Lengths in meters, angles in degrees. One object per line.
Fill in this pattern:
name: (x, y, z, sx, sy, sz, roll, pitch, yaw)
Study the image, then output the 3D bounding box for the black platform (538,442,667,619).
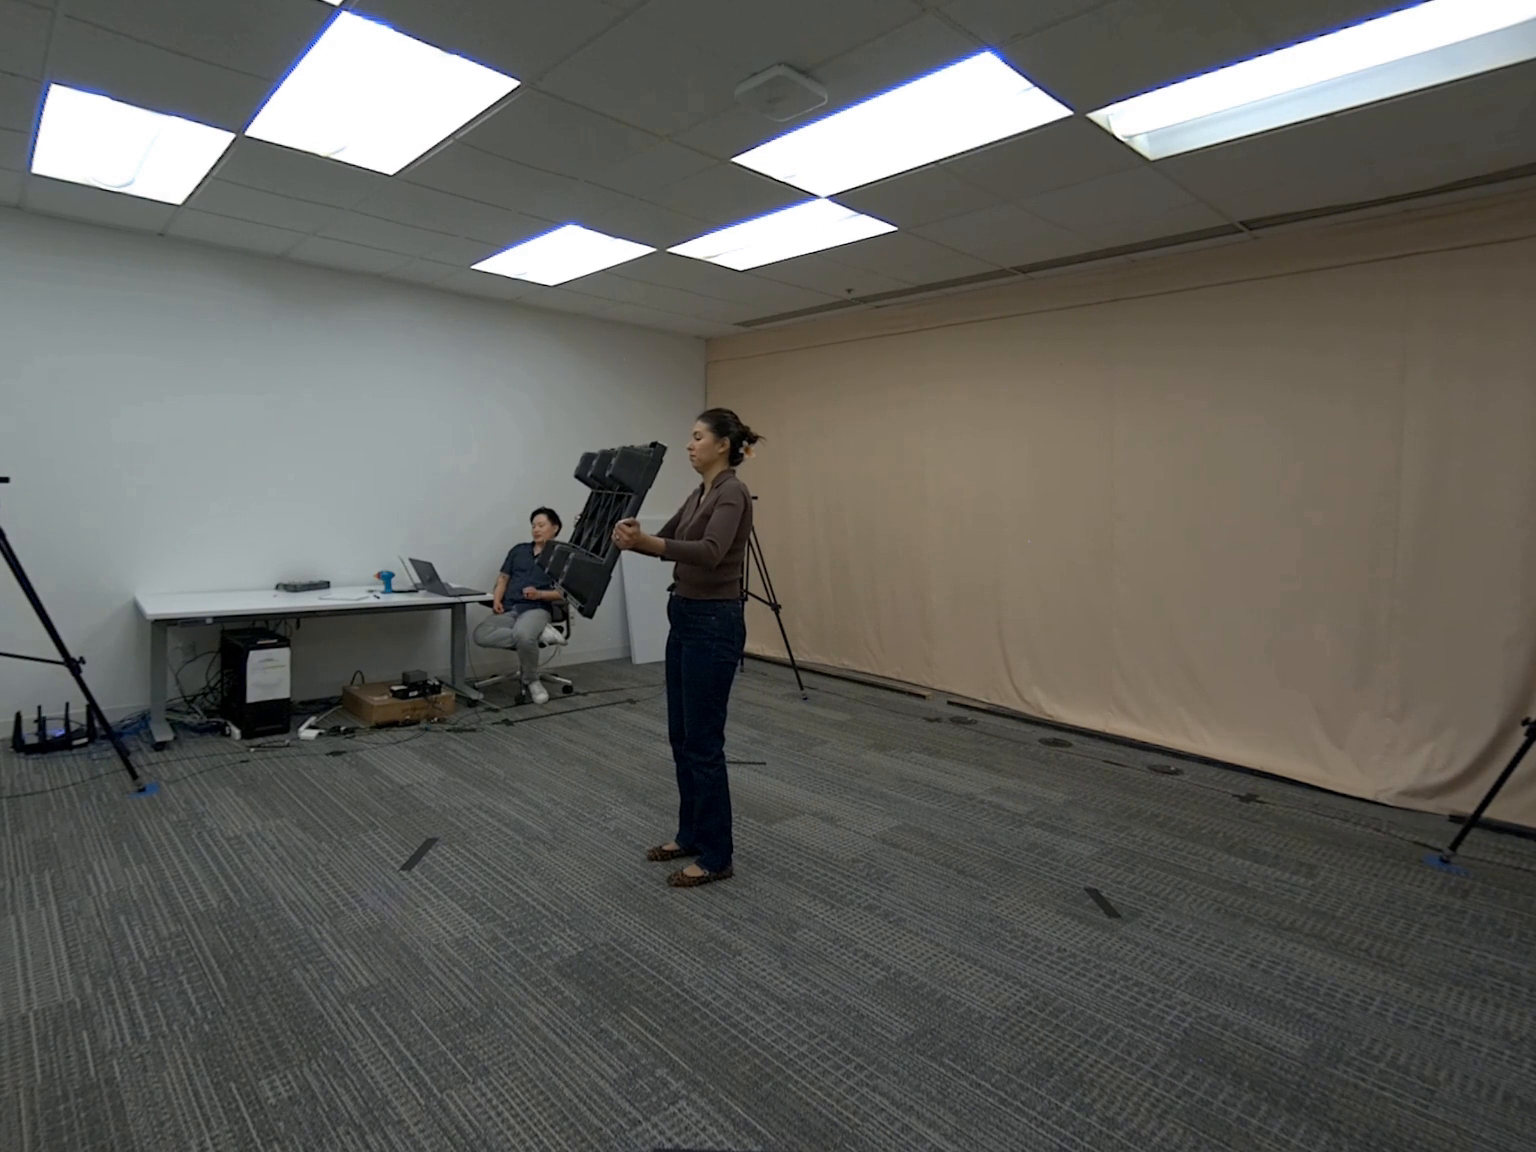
black platform: (-0.634, -0.195, 2.981, 0.140, 0.606, 0.820, 24, -3, -21)
